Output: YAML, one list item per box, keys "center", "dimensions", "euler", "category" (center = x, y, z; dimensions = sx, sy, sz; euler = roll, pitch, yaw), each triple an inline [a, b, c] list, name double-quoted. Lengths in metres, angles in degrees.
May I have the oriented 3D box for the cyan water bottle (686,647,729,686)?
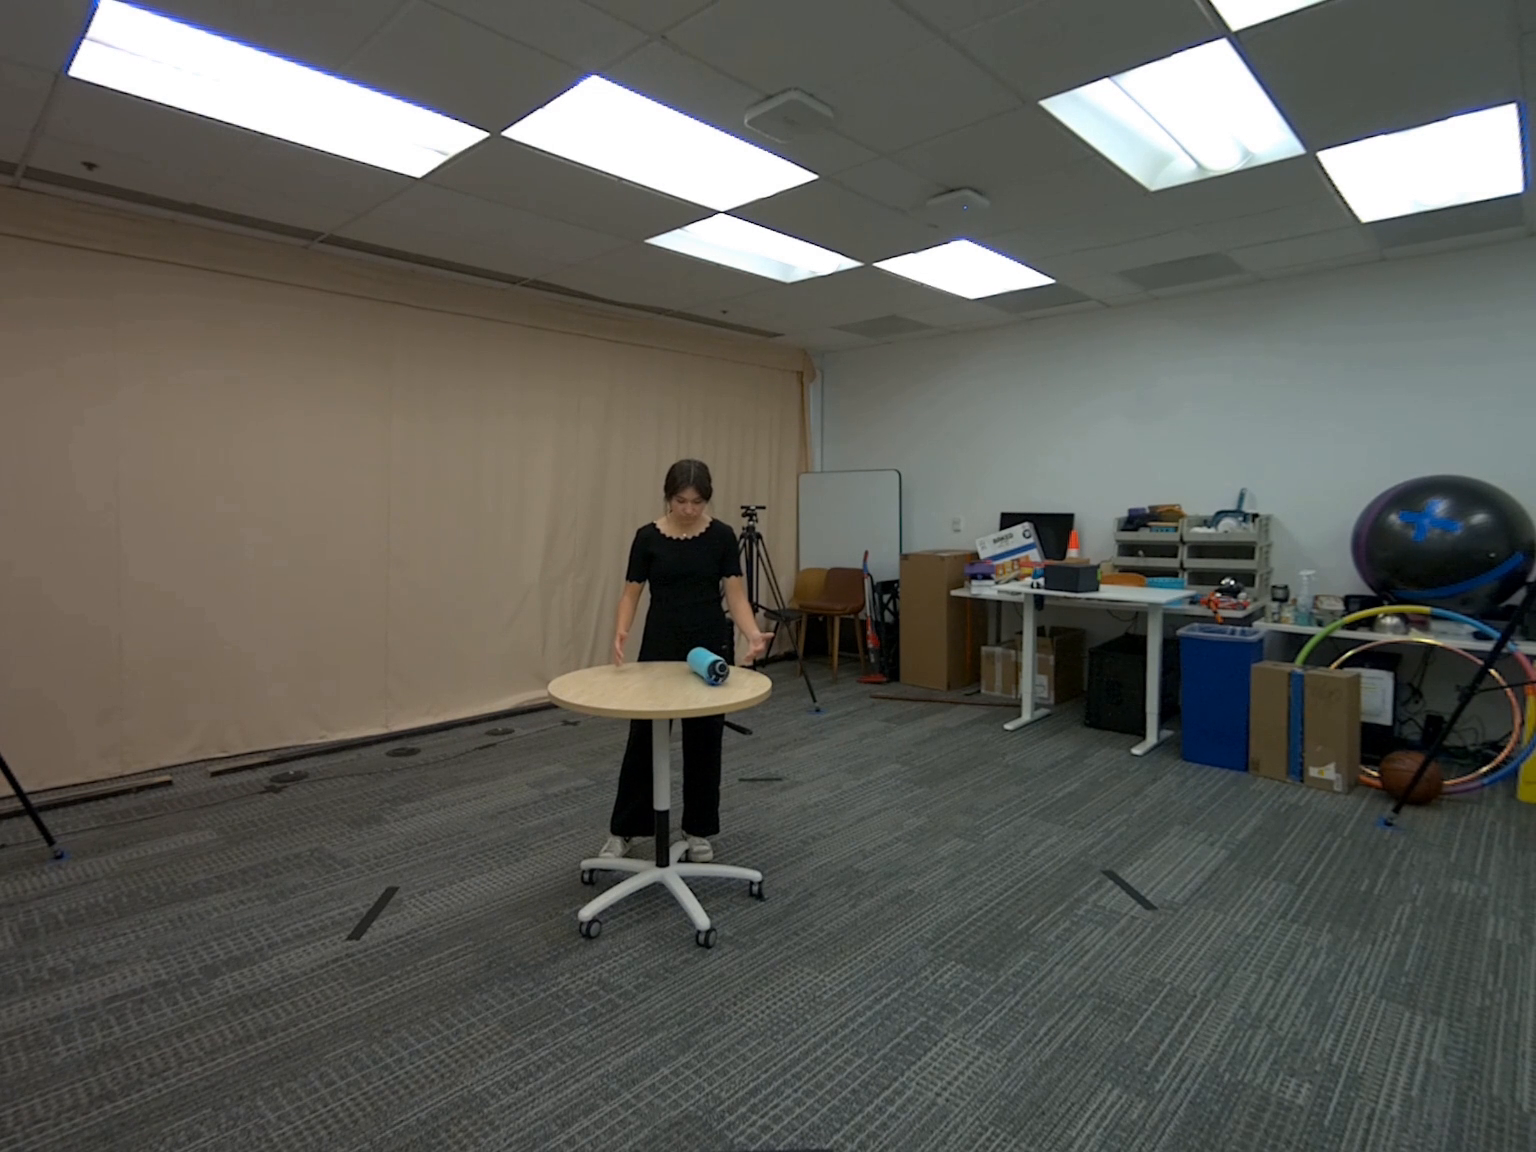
- center: [-0.208, 0.316, 2.952]
  dimensions: [0.090, 0.092, 0.290]
  euler: [-2, 4, -22]
  category: "cyan water bottle"
